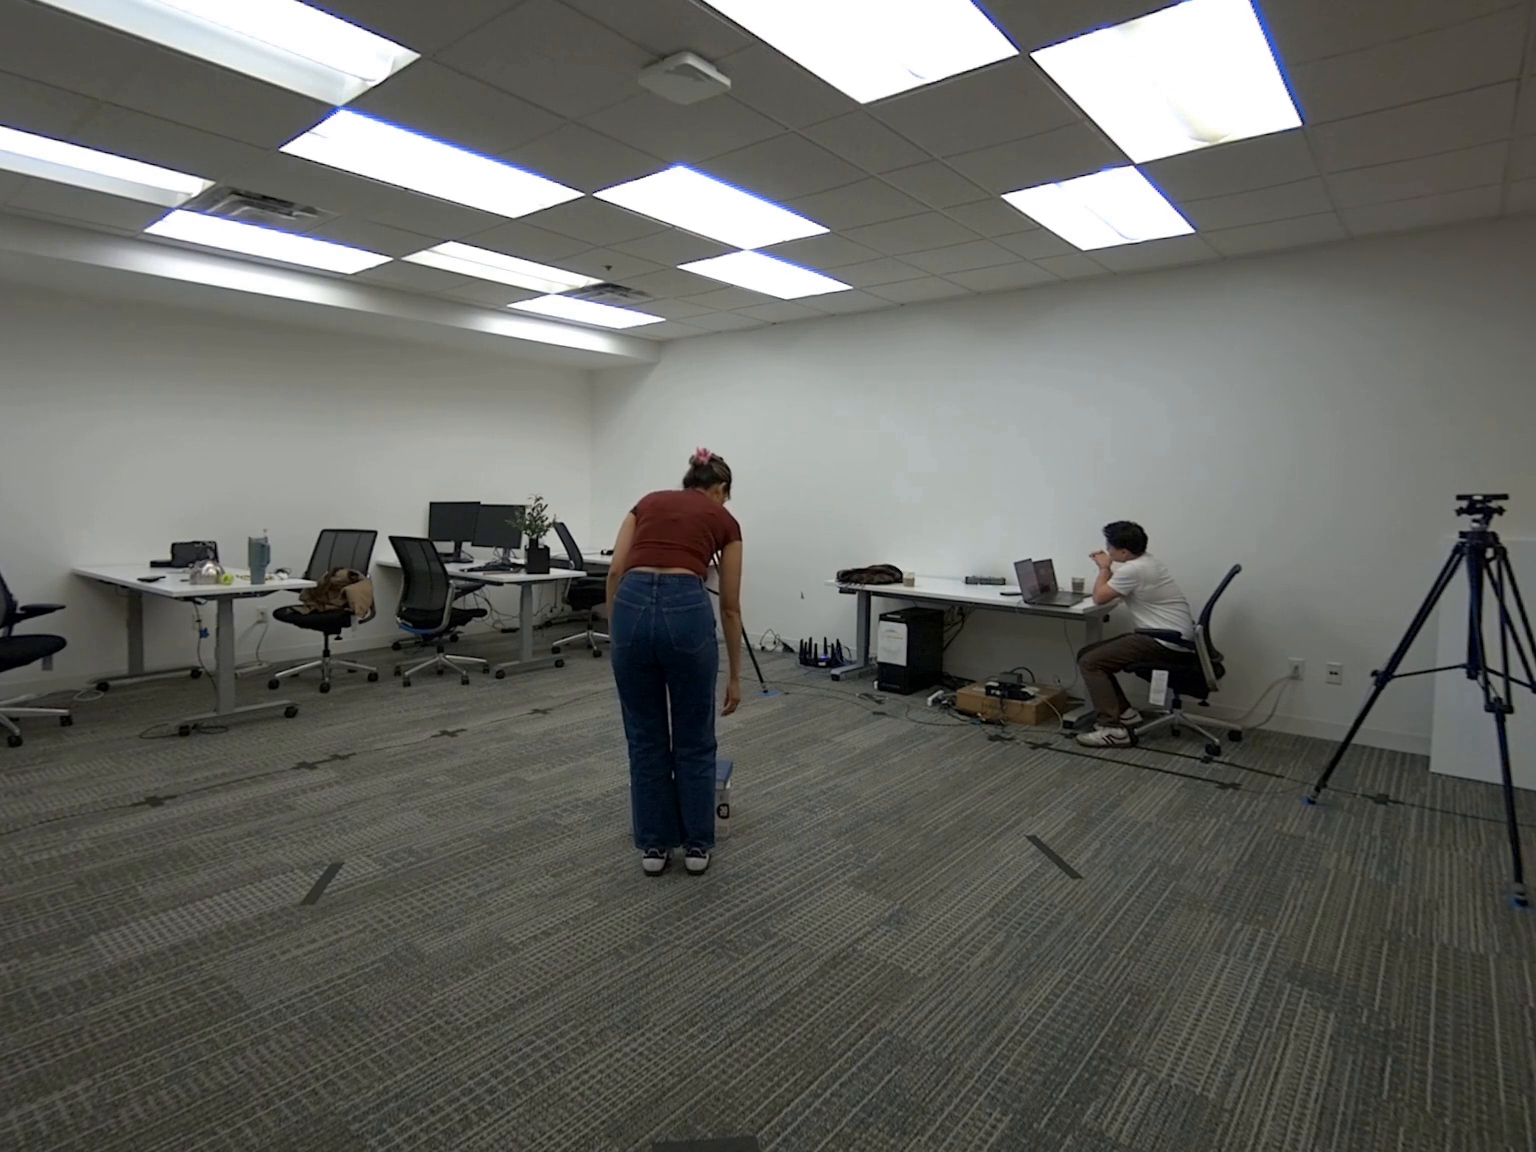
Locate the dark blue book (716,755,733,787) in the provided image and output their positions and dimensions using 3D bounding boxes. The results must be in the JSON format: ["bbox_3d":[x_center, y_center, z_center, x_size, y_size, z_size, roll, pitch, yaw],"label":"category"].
[{"bbox_3d":[-0.245,0.796,3.463,0.165,0.045,0.244,0,5,6],"label":"dark blue book"}]
